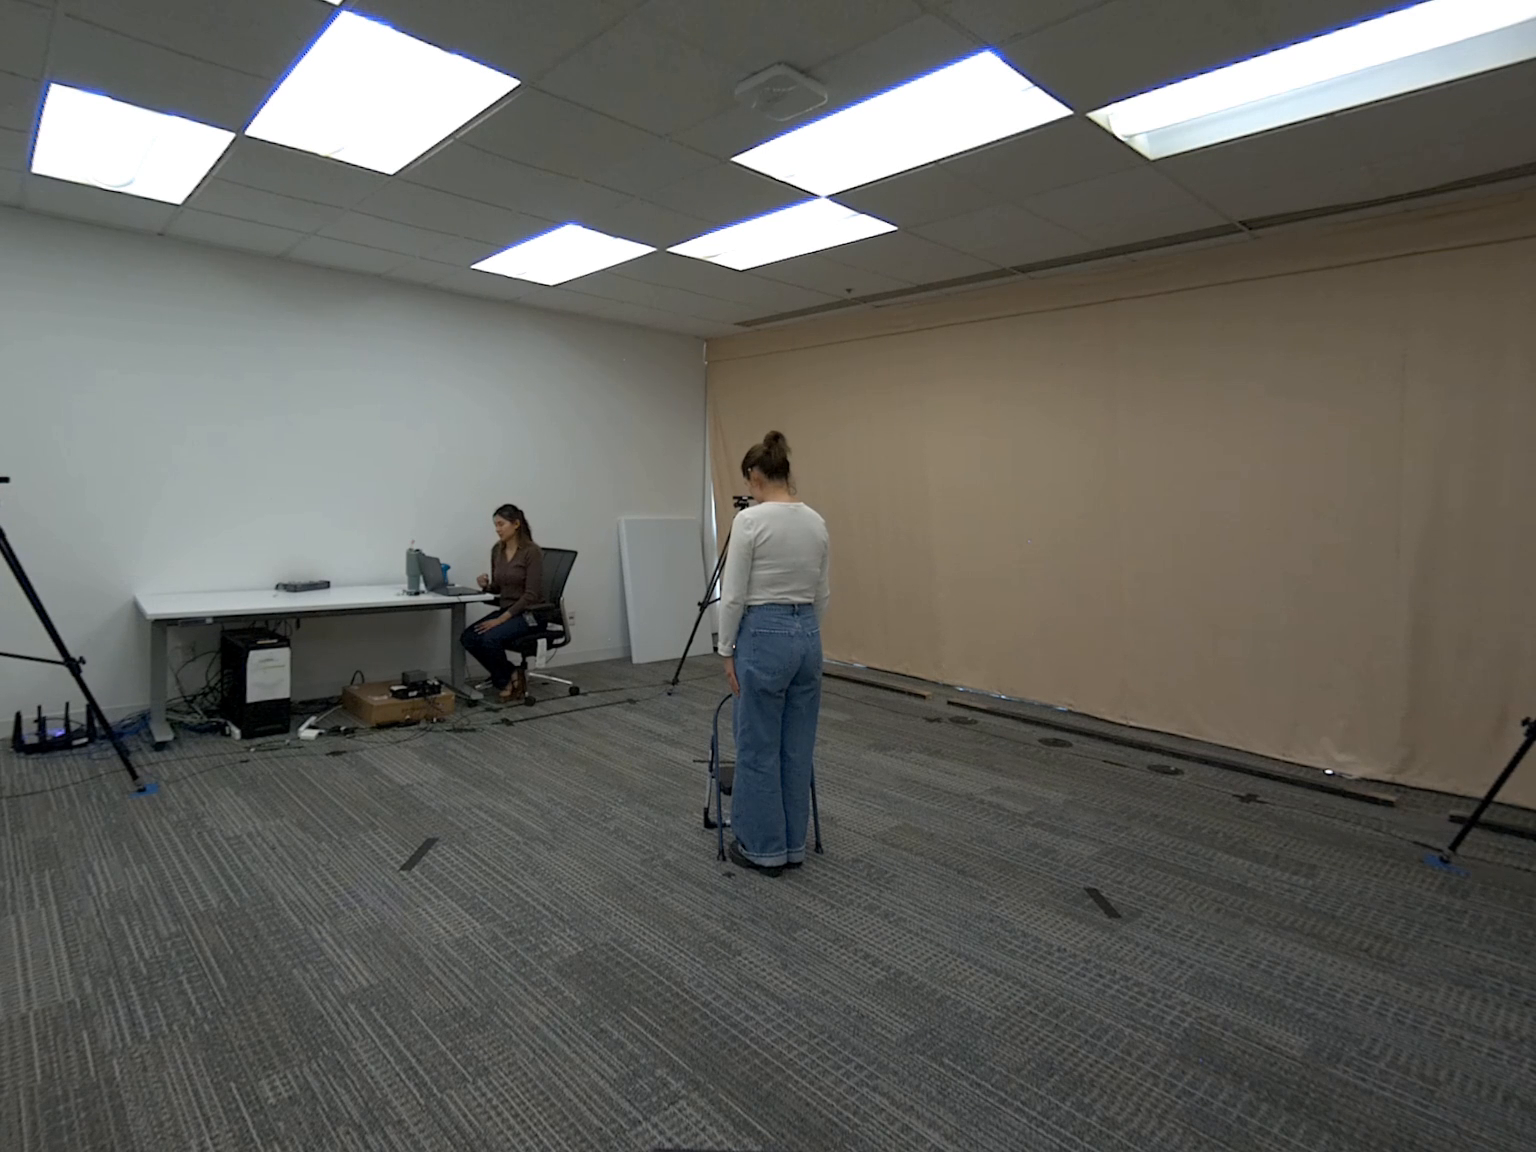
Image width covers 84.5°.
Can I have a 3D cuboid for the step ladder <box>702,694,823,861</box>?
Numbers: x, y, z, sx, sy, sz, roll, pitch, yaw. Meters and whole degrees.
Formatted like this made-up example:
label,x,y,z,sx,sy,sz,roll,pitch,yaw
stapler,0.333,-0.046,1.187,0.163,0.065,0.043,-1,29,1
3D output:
label,x,y,z,sx,sy,sz,roll,pitch,yaw
step ladder,-0.027,0.777,3.424,0.426,0.605,0.354,1,3,-14
